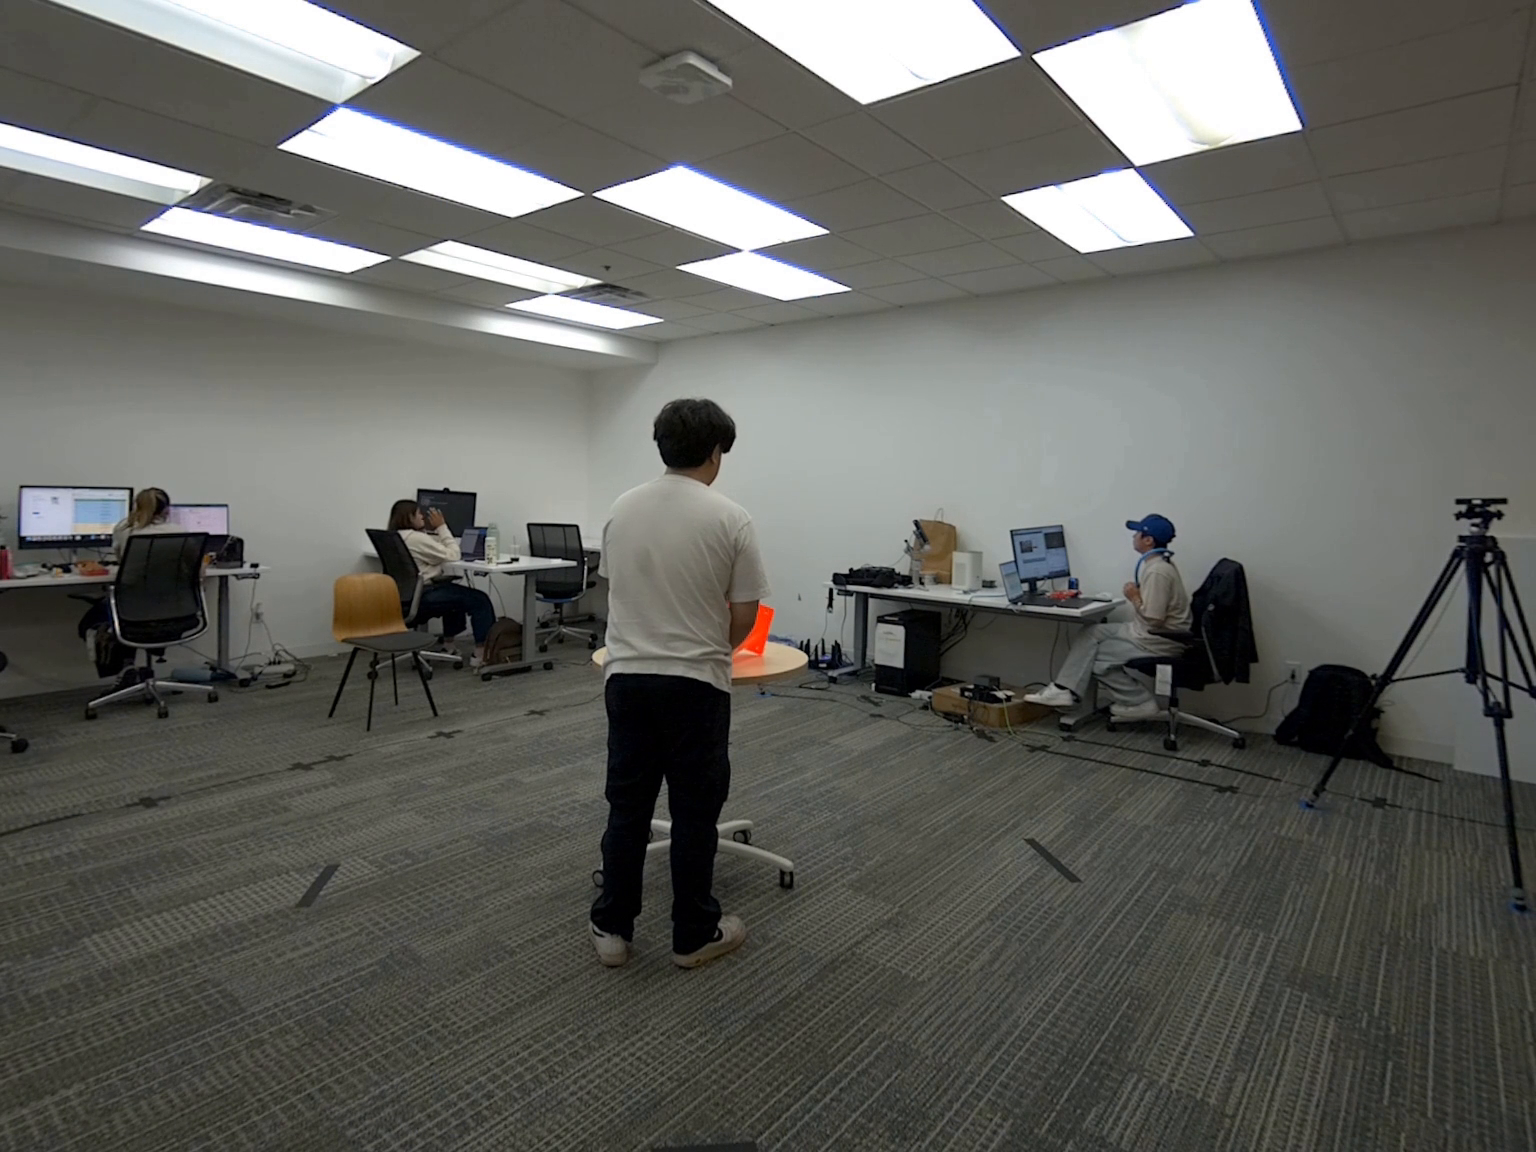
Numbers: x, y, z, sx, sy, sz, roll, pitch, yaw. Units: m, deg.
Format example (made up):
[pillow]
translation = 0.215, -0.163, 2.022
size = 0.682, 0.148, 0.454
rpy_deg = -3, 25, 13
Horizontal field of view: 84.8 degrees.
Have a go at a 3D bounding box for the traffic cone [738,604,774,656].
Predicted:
[traffic cone]
translation = -0.161, 0.233, 2.861
size = 0.209, 0.200, 0.382
rpy_deg = 20, 26, 13
